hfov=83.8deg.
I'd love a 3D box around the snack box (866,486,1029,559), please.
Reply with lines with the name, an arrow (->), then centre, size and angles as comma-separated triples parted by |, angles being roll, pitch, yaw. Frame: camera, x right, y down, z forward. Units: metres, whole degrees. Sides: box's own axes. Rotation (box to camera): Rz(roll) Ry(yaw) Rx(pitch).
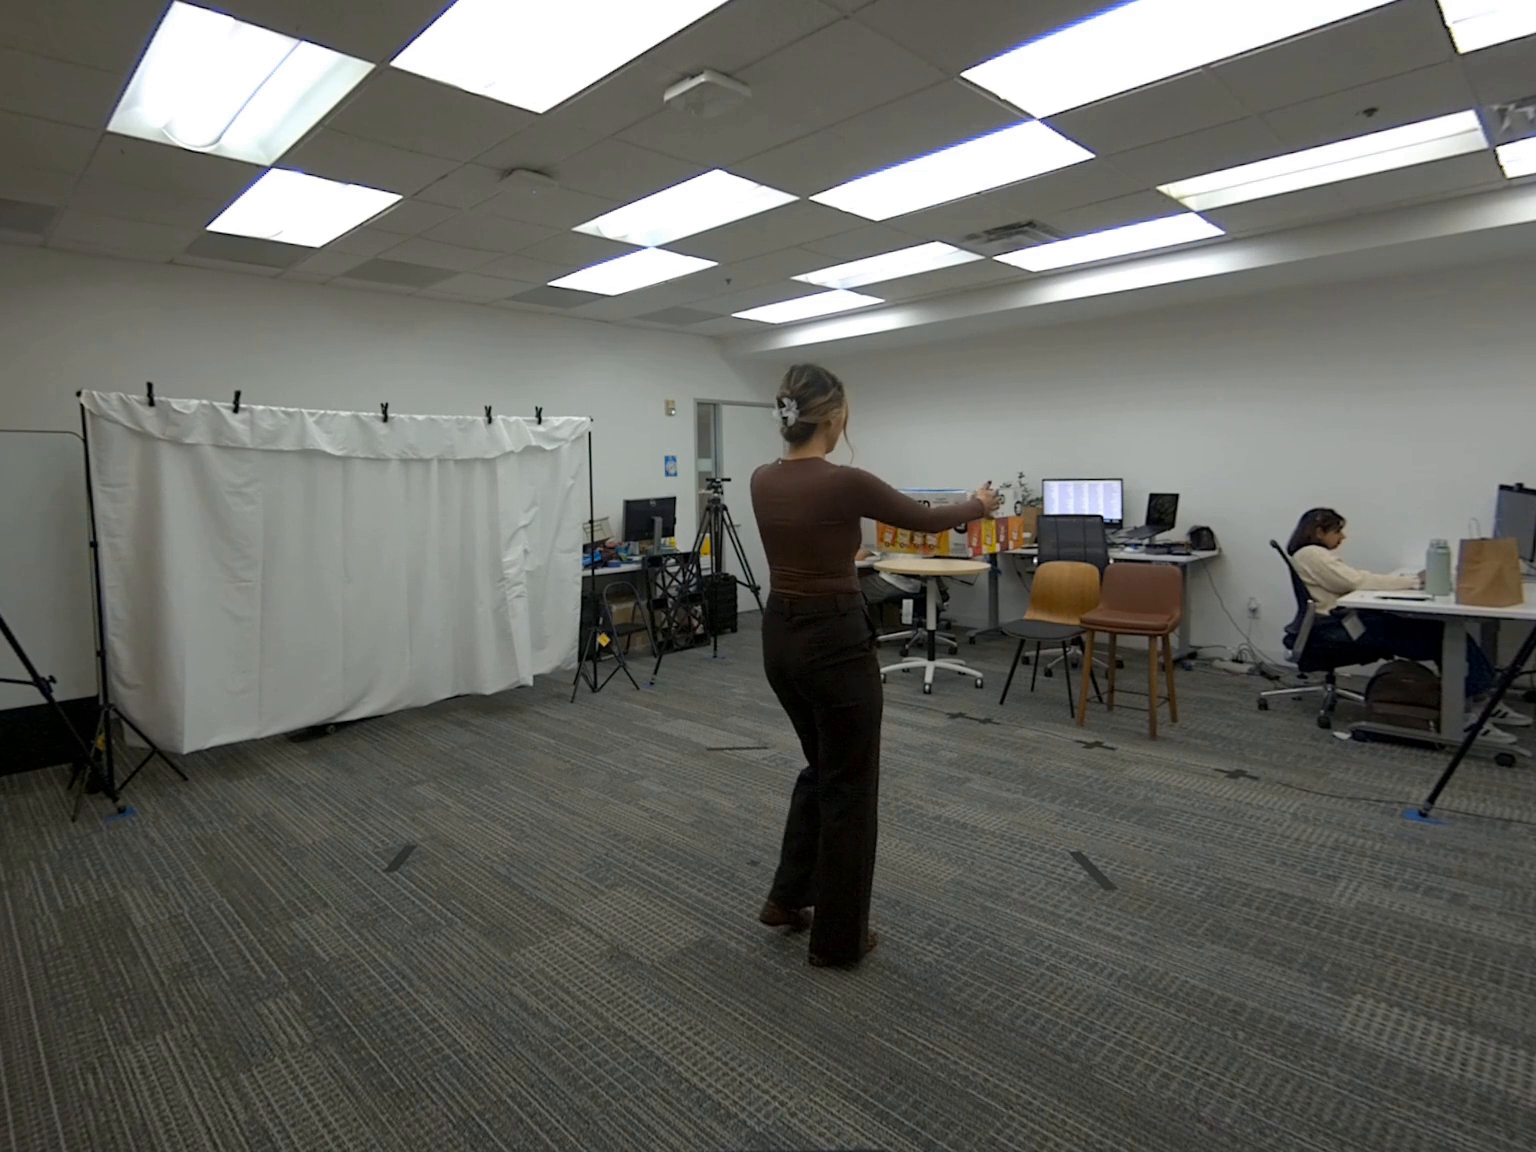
snack box -> 0.595, -0.187, 2.866 | 0.417, 0.205, 0.332 | 4, 9, 44
